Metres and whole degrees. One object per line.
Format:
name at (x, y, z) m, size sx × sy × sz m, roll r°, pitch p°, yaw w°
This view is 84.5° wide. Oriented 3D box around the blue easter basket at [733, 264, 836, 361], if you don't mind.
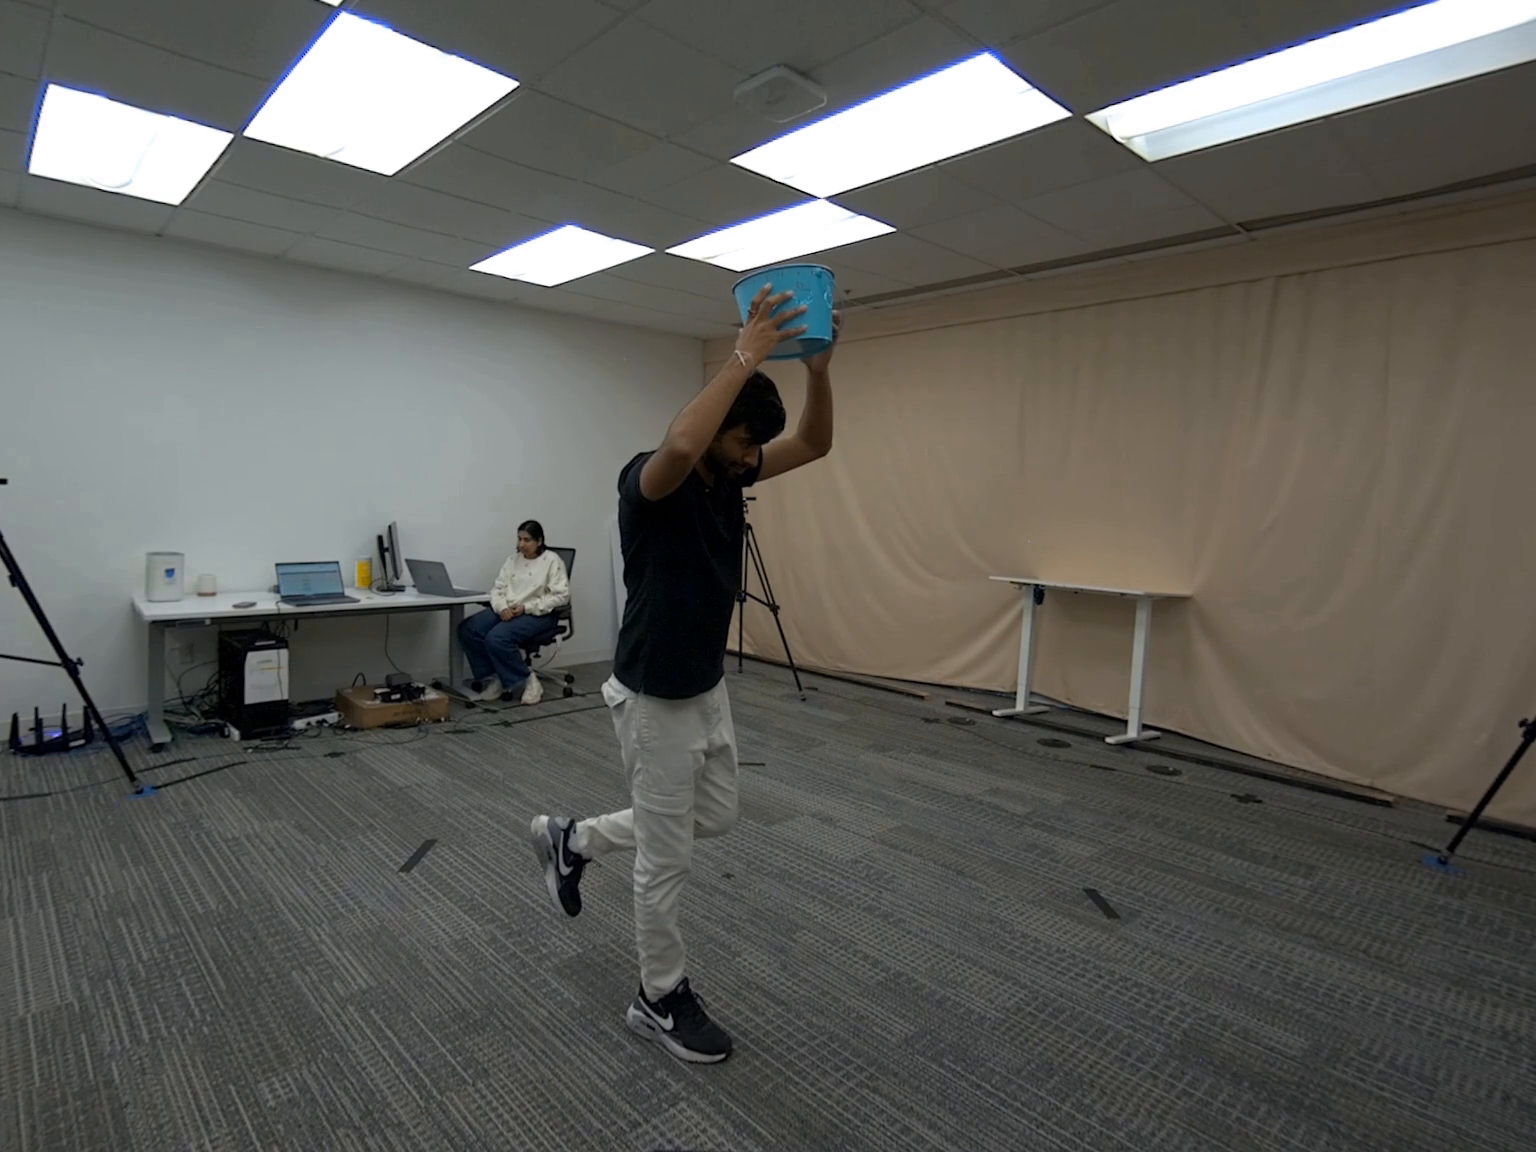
blue easter basket at (0.045, -0.582, 1.864) m, size 0.243 × 0.156 × 0.244 m, roll -7°, pitch 1°, yaw -1°
